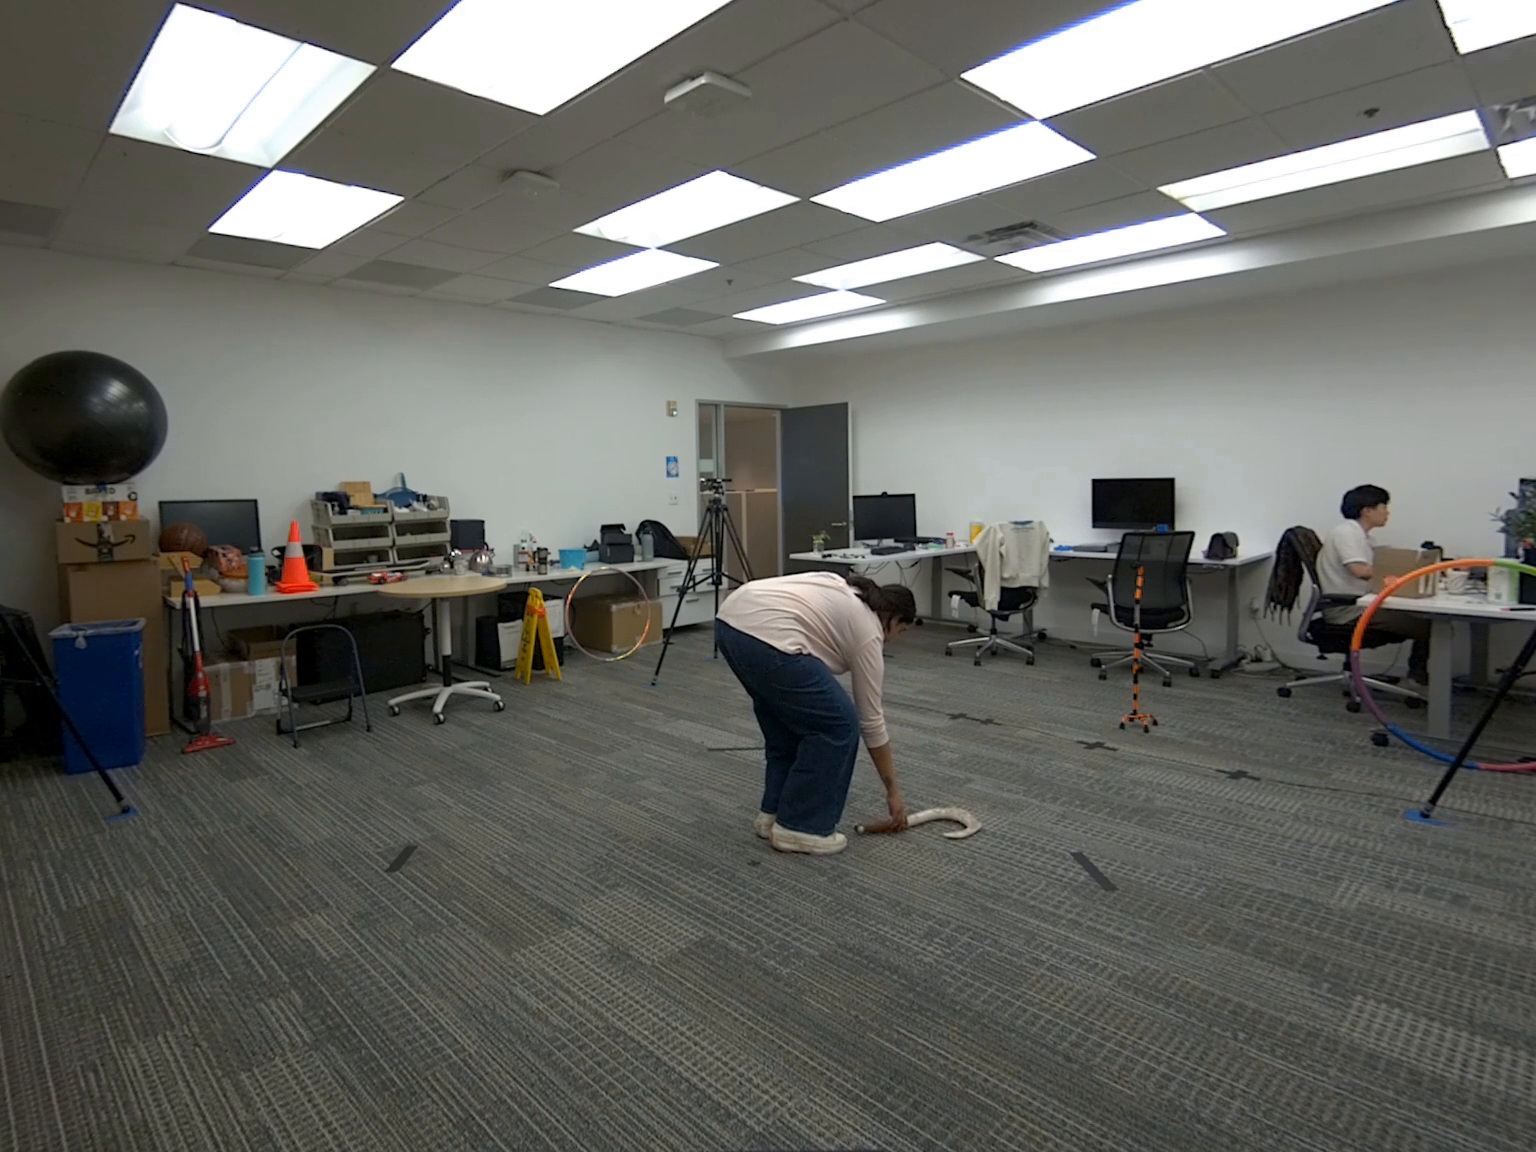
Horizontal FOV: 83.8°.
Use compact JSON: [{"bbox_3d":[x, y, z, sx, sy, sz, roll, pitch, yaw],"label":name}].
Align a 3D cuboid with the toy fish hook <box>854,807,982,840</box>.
[{"bbox_3d":[0.594,0.977,3.347,0.499,0.048,0.229,-3,6,-17],"label":"toy fish hook"}]
